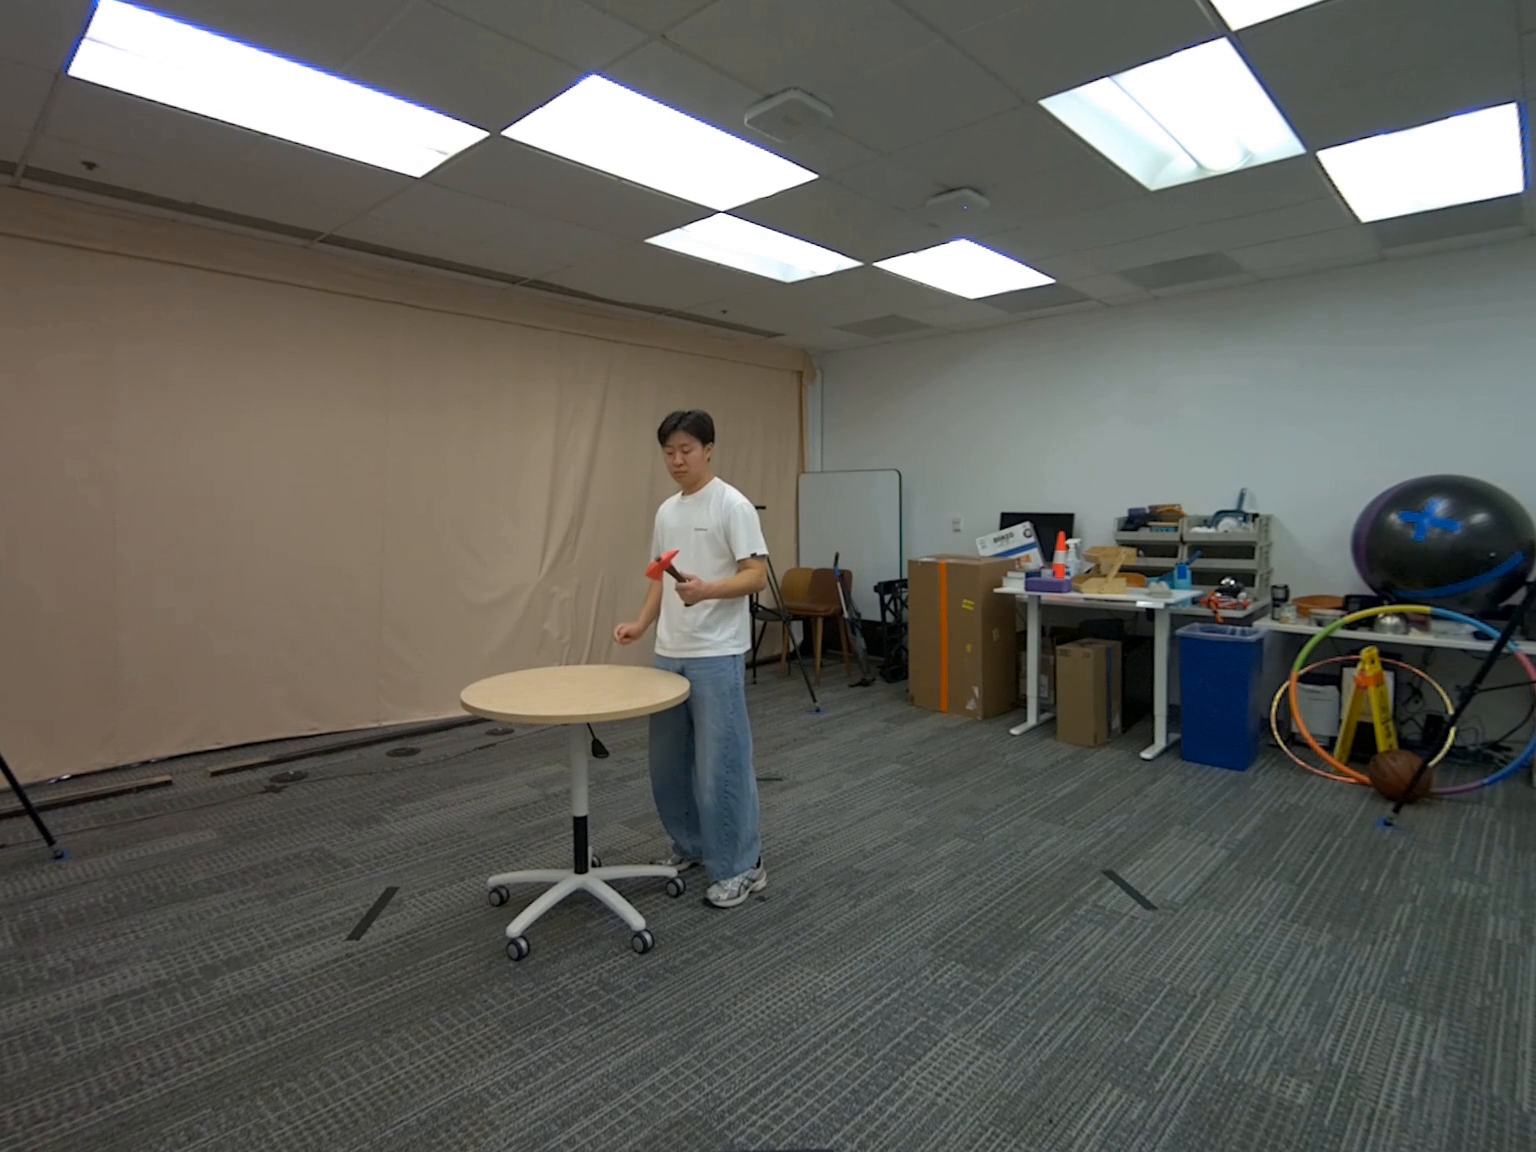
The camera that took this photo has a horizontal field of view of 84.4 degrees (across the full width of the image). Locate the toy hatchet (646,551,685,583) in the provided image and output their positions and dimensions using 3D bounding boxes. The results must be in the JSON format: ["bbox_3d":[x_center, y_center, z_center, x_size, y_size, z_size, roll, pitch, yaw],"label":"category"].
[{"bbox_3d":[-0.340,0.027,2.783,0.130,0.263,0.030,-27,49,-14],"label":"toy hatchet"}]
